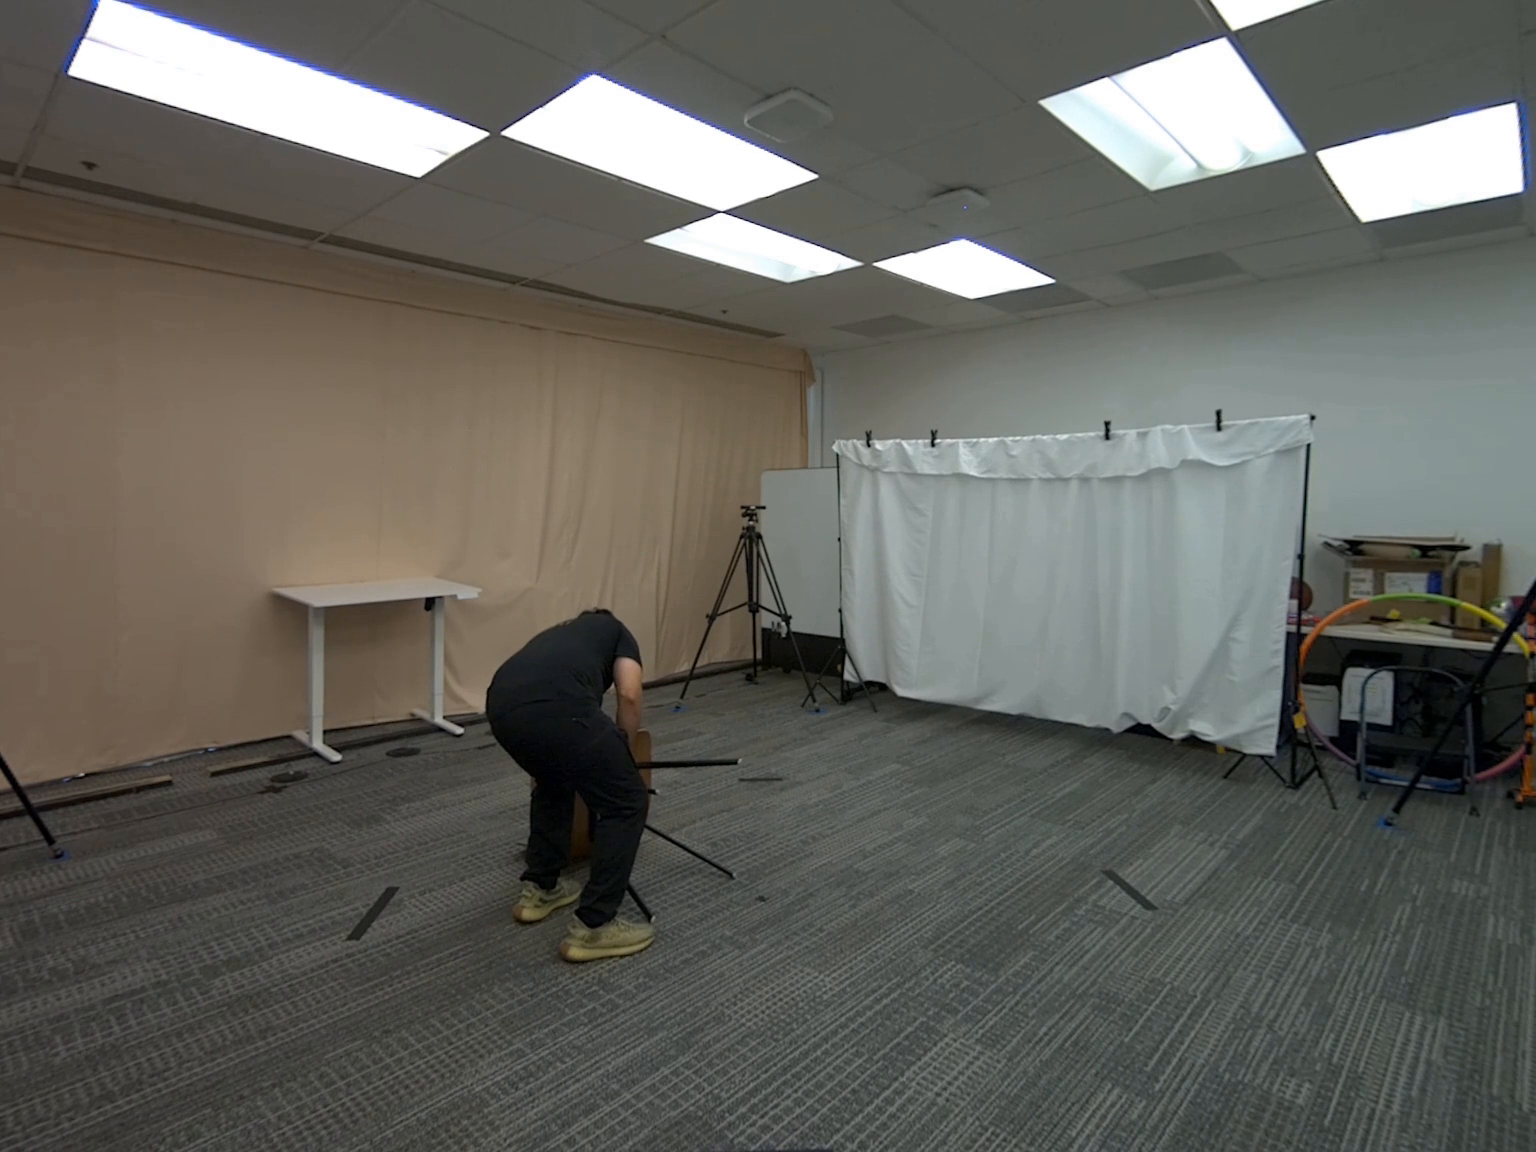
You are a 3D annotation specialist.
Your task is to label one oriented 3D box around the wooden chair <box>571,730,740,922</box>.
[{"bbox_3d":[-0.580,0.862,3.247,0.905,0.522,0.464,1,3,39],"label":"wooden chair"}]
